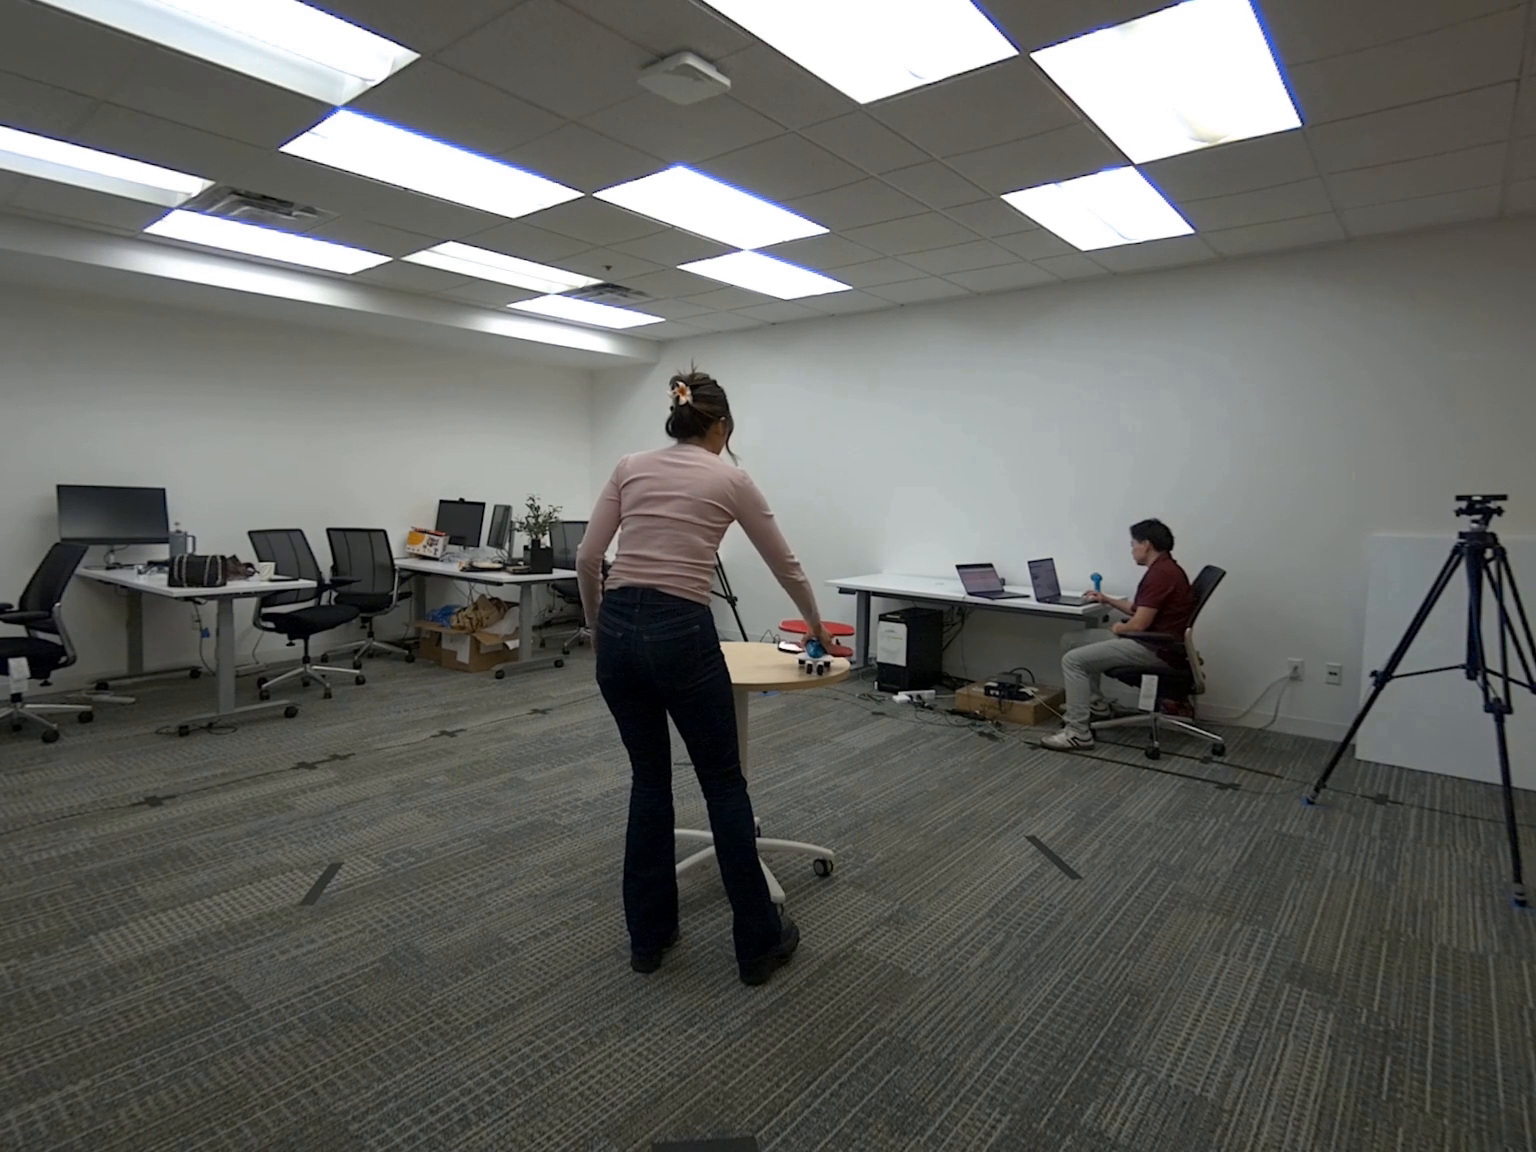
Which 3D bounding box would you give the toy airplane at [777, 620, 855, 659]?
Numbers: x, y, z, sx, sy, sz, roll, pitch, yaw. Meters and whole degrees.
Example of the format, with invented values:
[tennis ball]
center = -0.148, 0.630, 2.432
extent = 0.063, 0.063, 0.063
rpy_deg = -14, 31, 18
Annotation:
[toy airplane]
center = 0.175, 0.233, 2.837
extent = 0.245, 0.156, 0.266
rpy_deg = 1, 3, -23
